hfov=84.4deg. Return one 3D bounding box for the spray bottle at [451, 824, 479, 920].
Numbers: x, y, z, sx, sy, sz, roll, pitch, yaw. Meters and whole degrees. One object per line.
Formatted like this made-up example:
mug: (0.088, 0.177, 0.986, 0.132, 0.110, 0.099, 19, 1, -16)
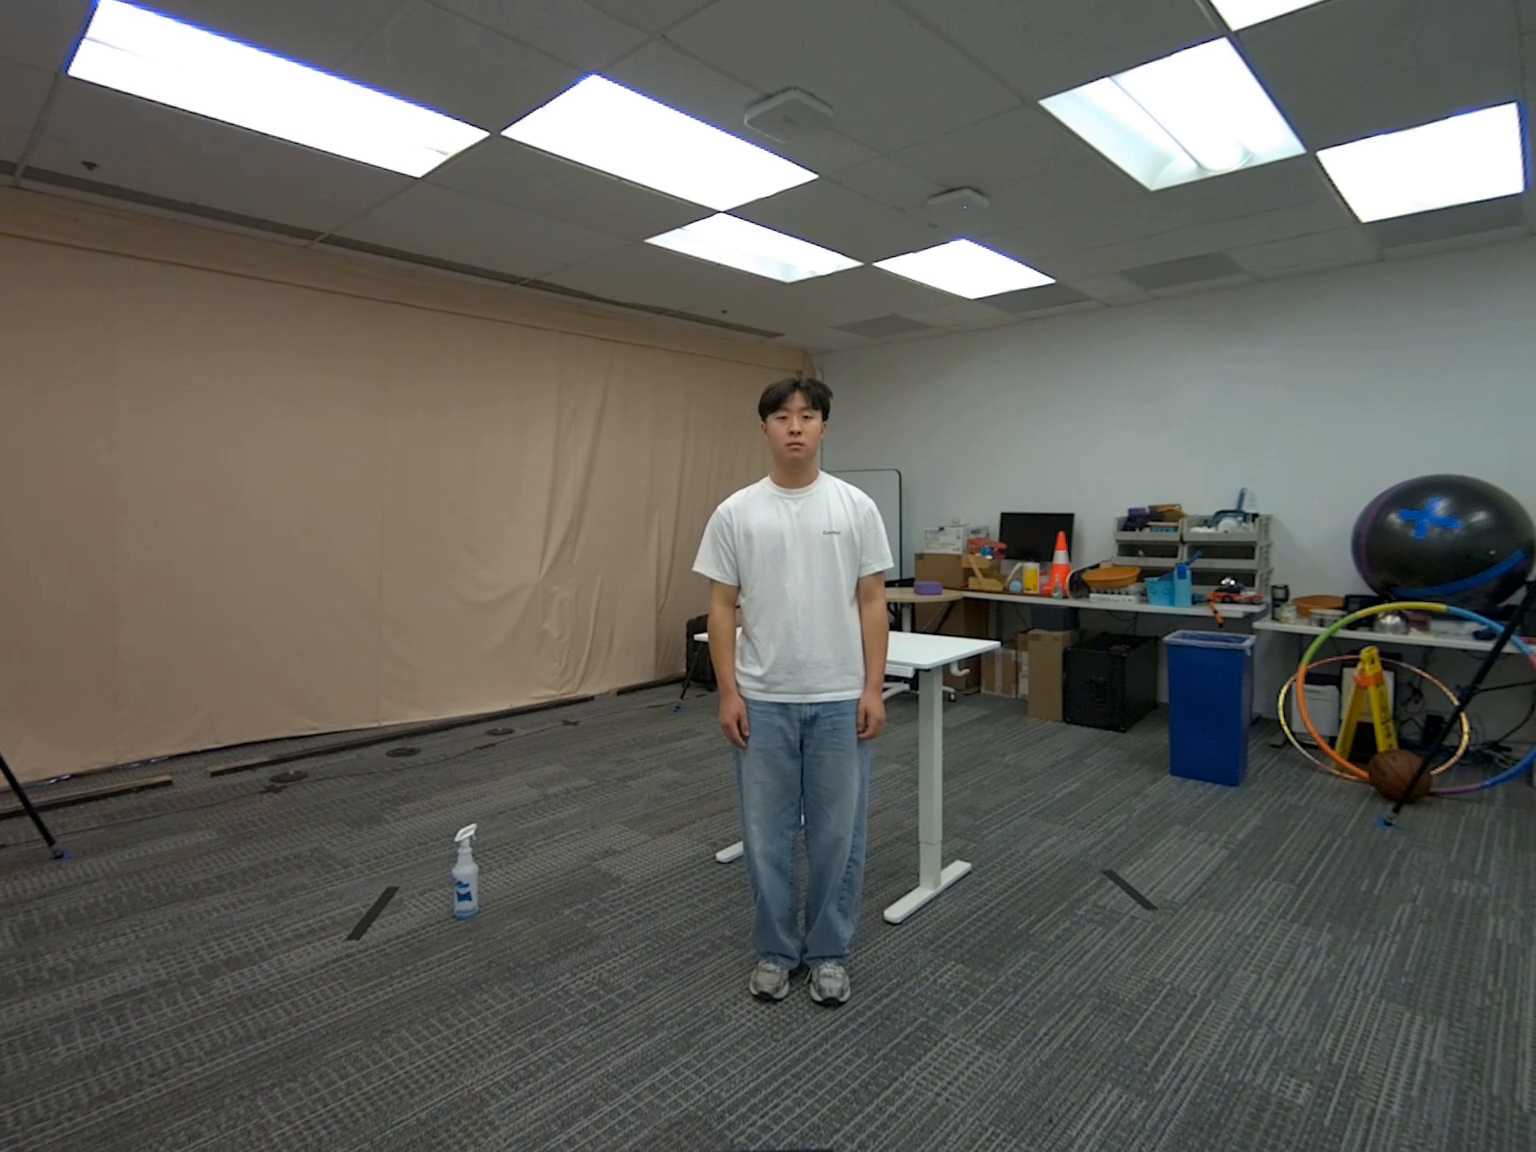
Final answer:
spray bottle: (-1.048, 1.023, 2.883, 0.087, 0.297, 0.090, -1, 2, -39)
